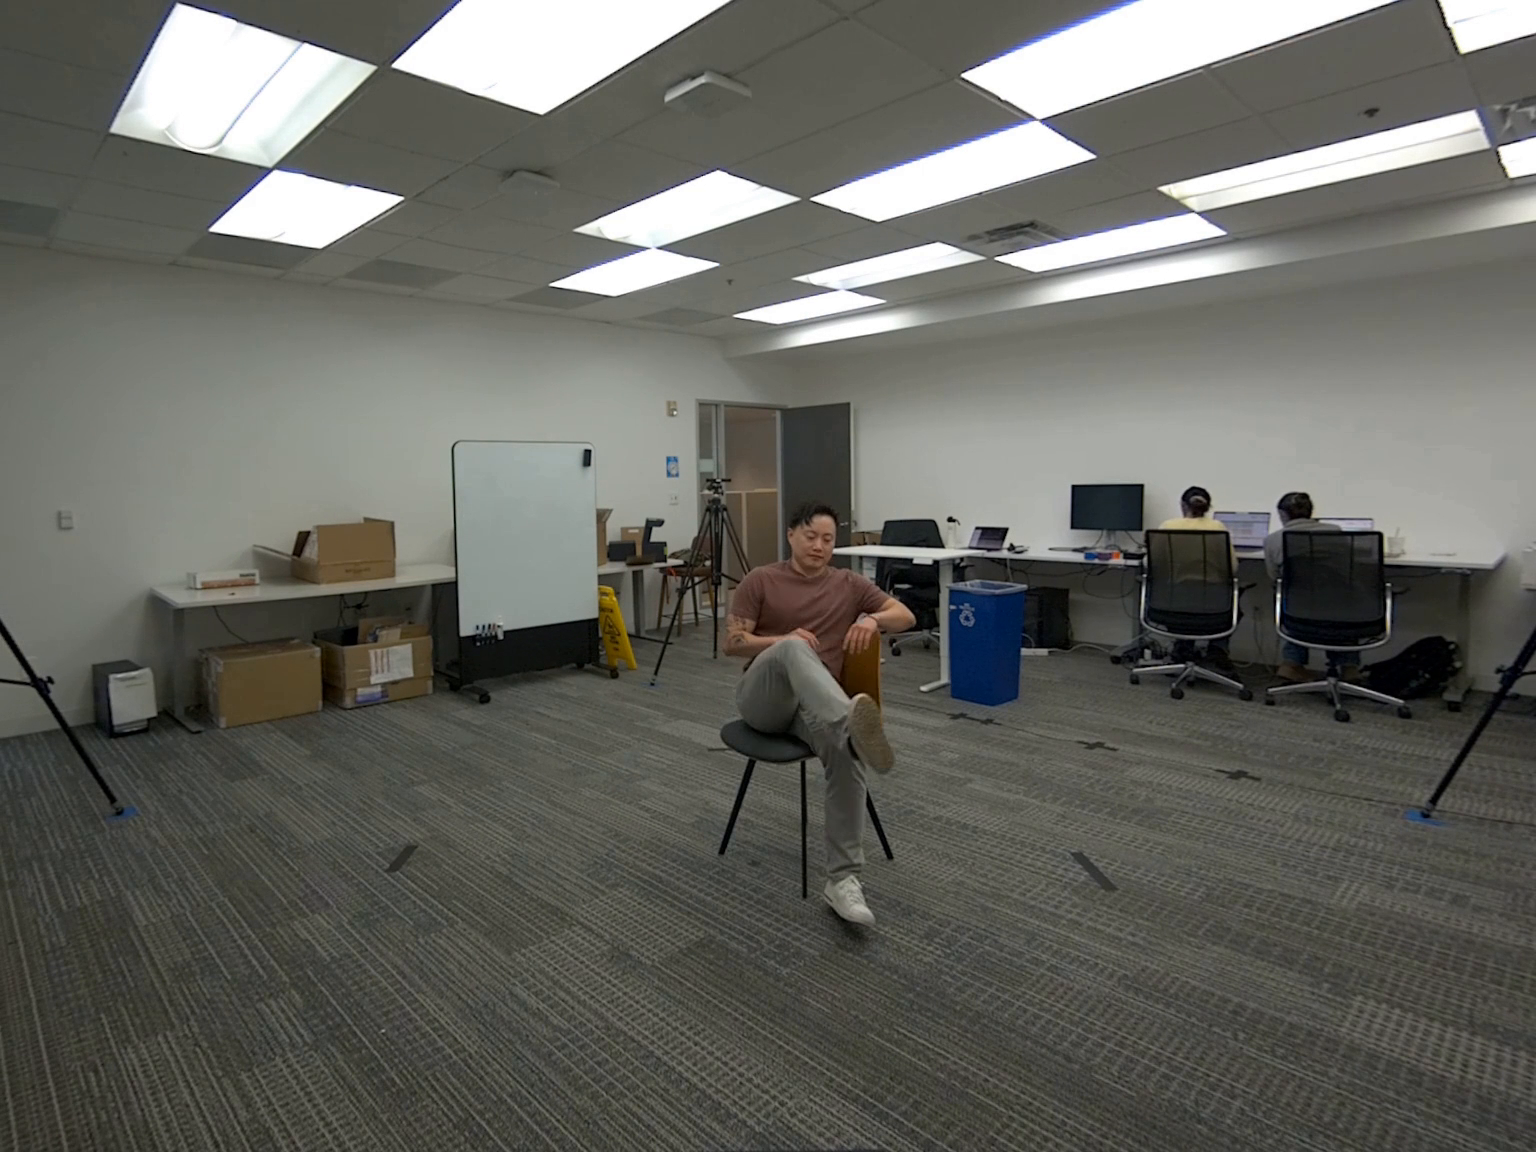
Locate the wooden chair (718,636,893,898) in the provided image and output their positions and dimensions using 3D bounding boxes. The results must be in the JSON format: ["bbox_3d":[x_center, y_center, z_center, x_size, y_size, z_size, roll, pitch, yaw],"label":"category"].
[{"bbox_3d":[0.128,0.612,3.117,0.508,0.877,0.493,2,1,-41],"label":"wooden chair"}]
